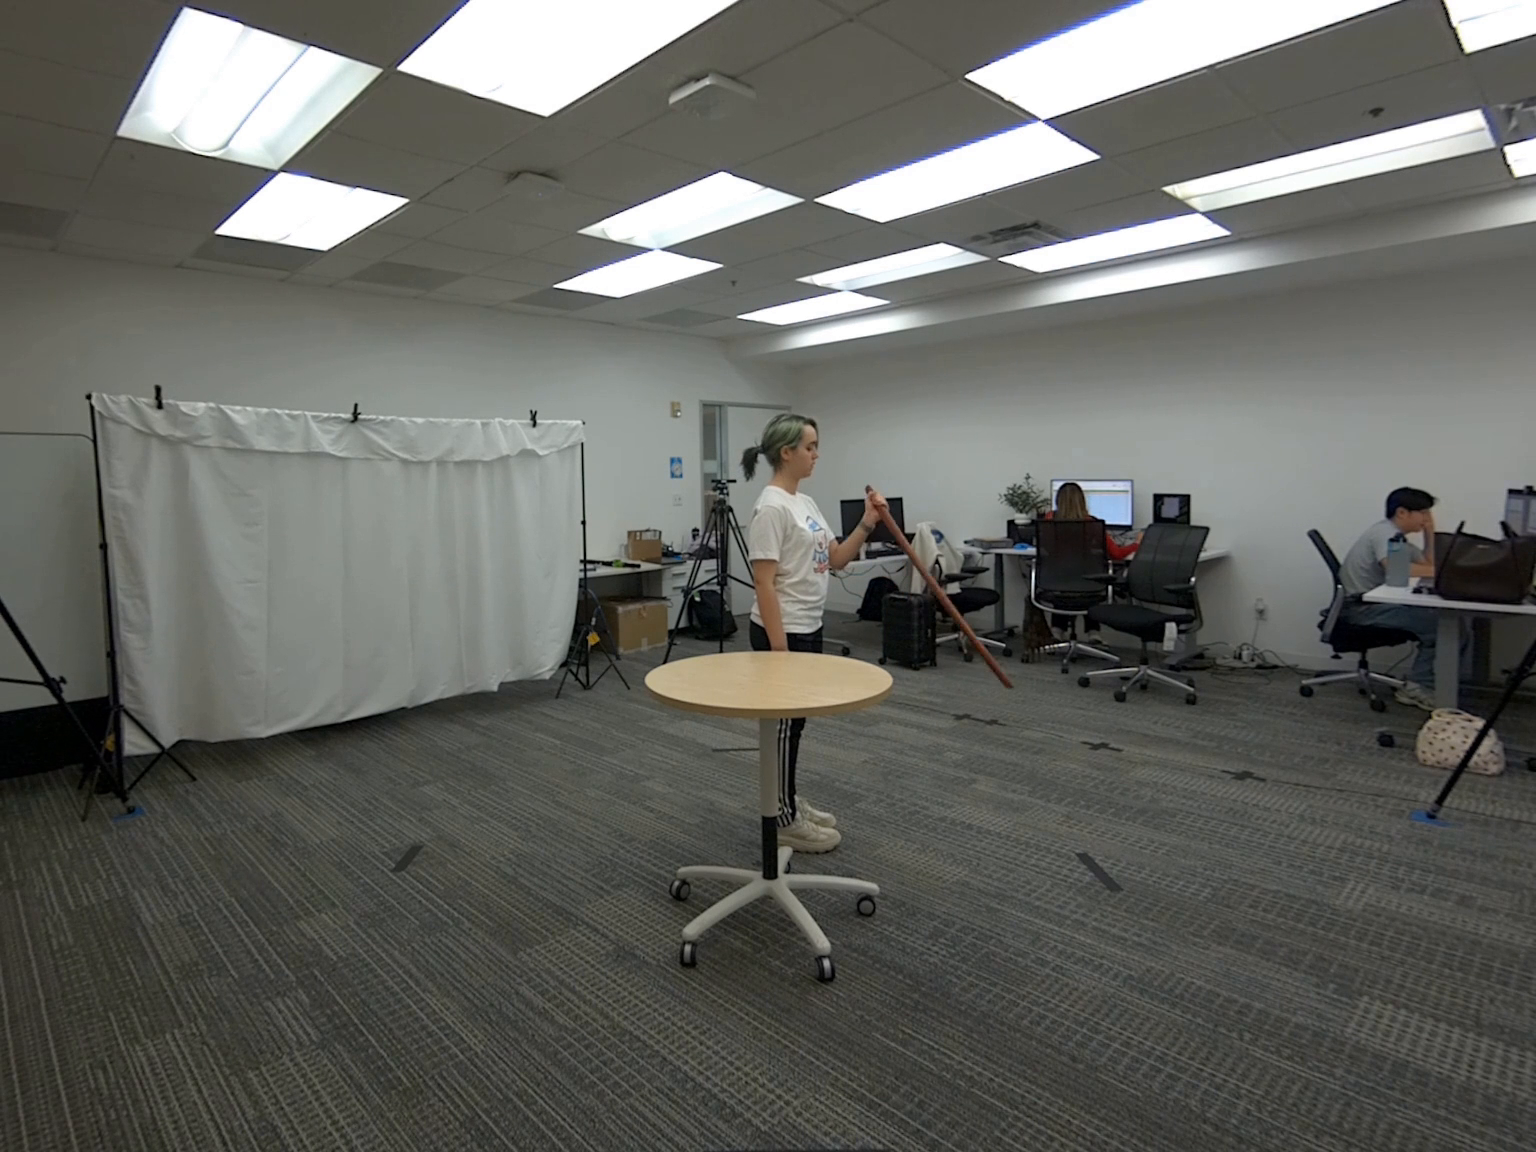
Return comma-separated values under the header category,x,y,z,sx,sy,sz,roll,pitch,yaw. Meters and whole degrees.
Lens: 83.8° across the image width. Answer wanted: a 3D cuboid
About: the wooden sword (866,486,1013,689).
category,x,y,z,sx,sy,sz,roll,pitch,yaw
wooden sword,0.568,0.027,2.973,0.023,0.050,1.064,0,42,-29
